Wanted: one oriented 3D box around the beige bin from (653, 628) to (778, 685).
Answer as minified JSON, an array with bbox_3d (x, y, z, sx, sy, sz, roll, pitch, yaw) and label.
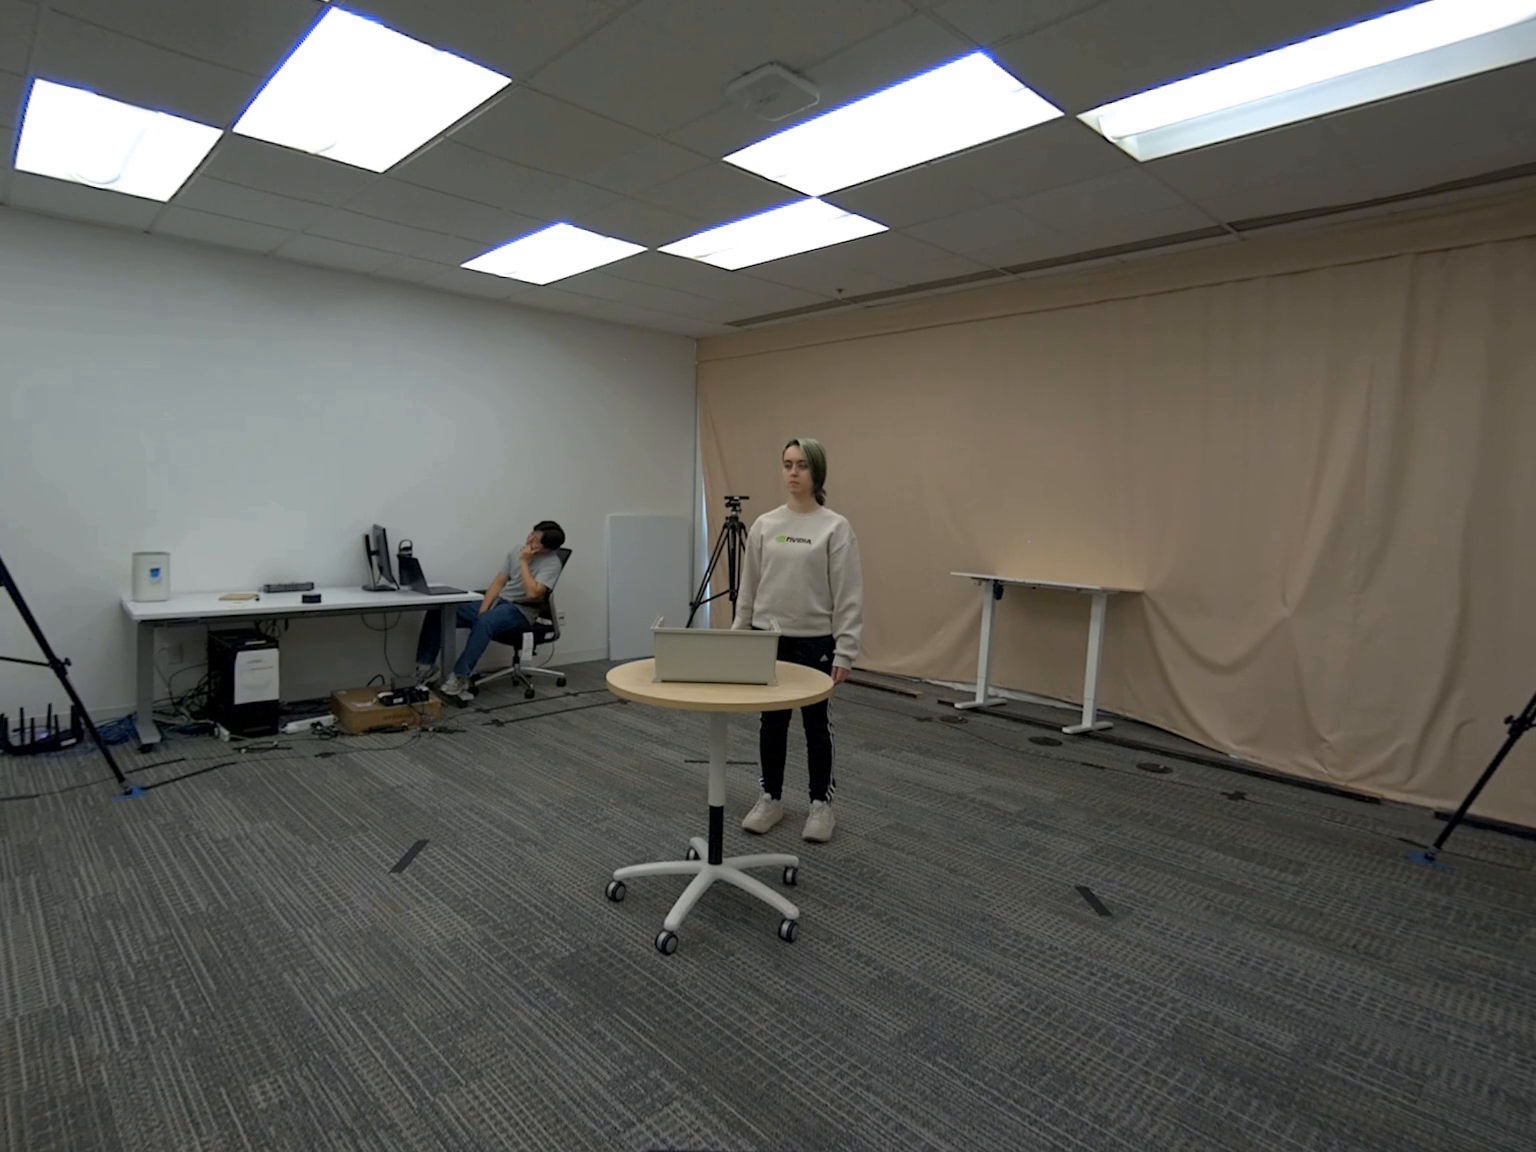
[{"bbox_3d":[-0.182,0.260,2.902,0.422,0.189,0.378,2,2,-2],"label":"beige bin"}]
